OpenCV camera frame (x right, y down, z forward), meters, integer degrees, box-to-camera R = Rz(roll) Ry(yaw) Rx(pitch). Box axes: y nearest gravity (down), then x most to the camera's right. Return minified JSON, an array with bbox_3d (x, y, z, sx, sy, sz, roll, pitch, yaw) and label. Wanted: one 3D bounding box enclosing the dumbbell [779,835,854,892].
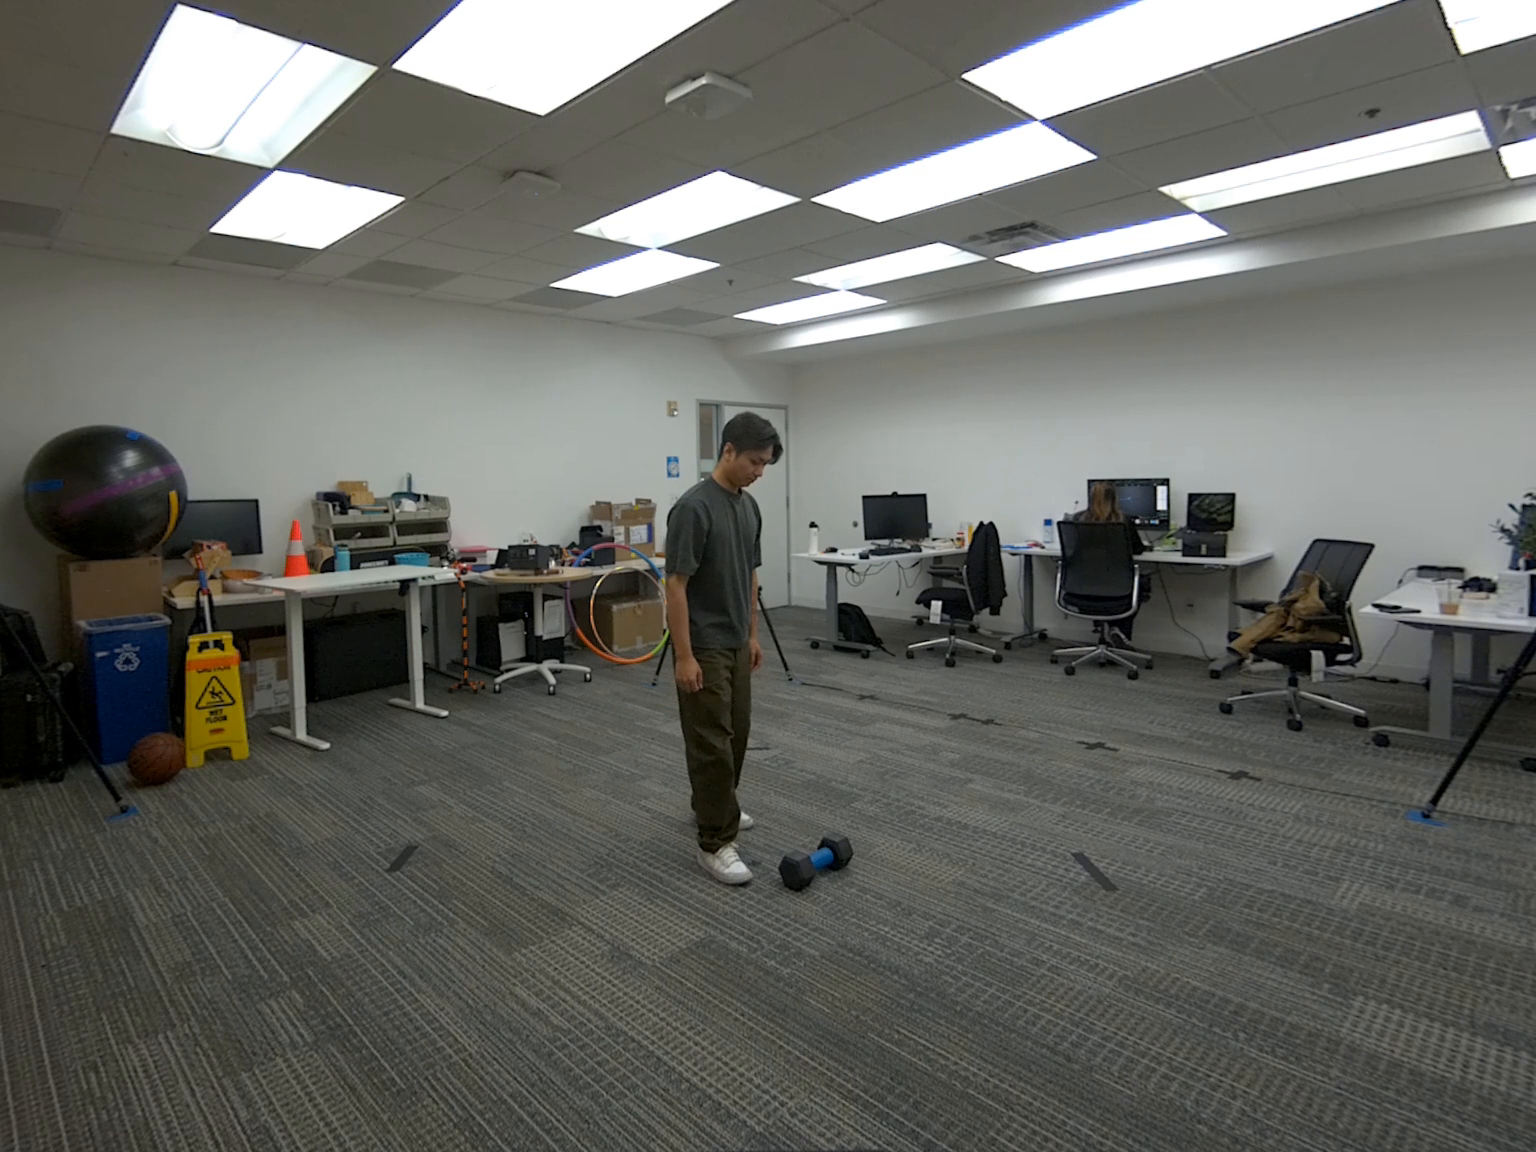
[{"bbox_3d":[0.175,0.998,2.997,0.286,0.121,0.113,-6,38,-46],"label":"dumbbell"}]
